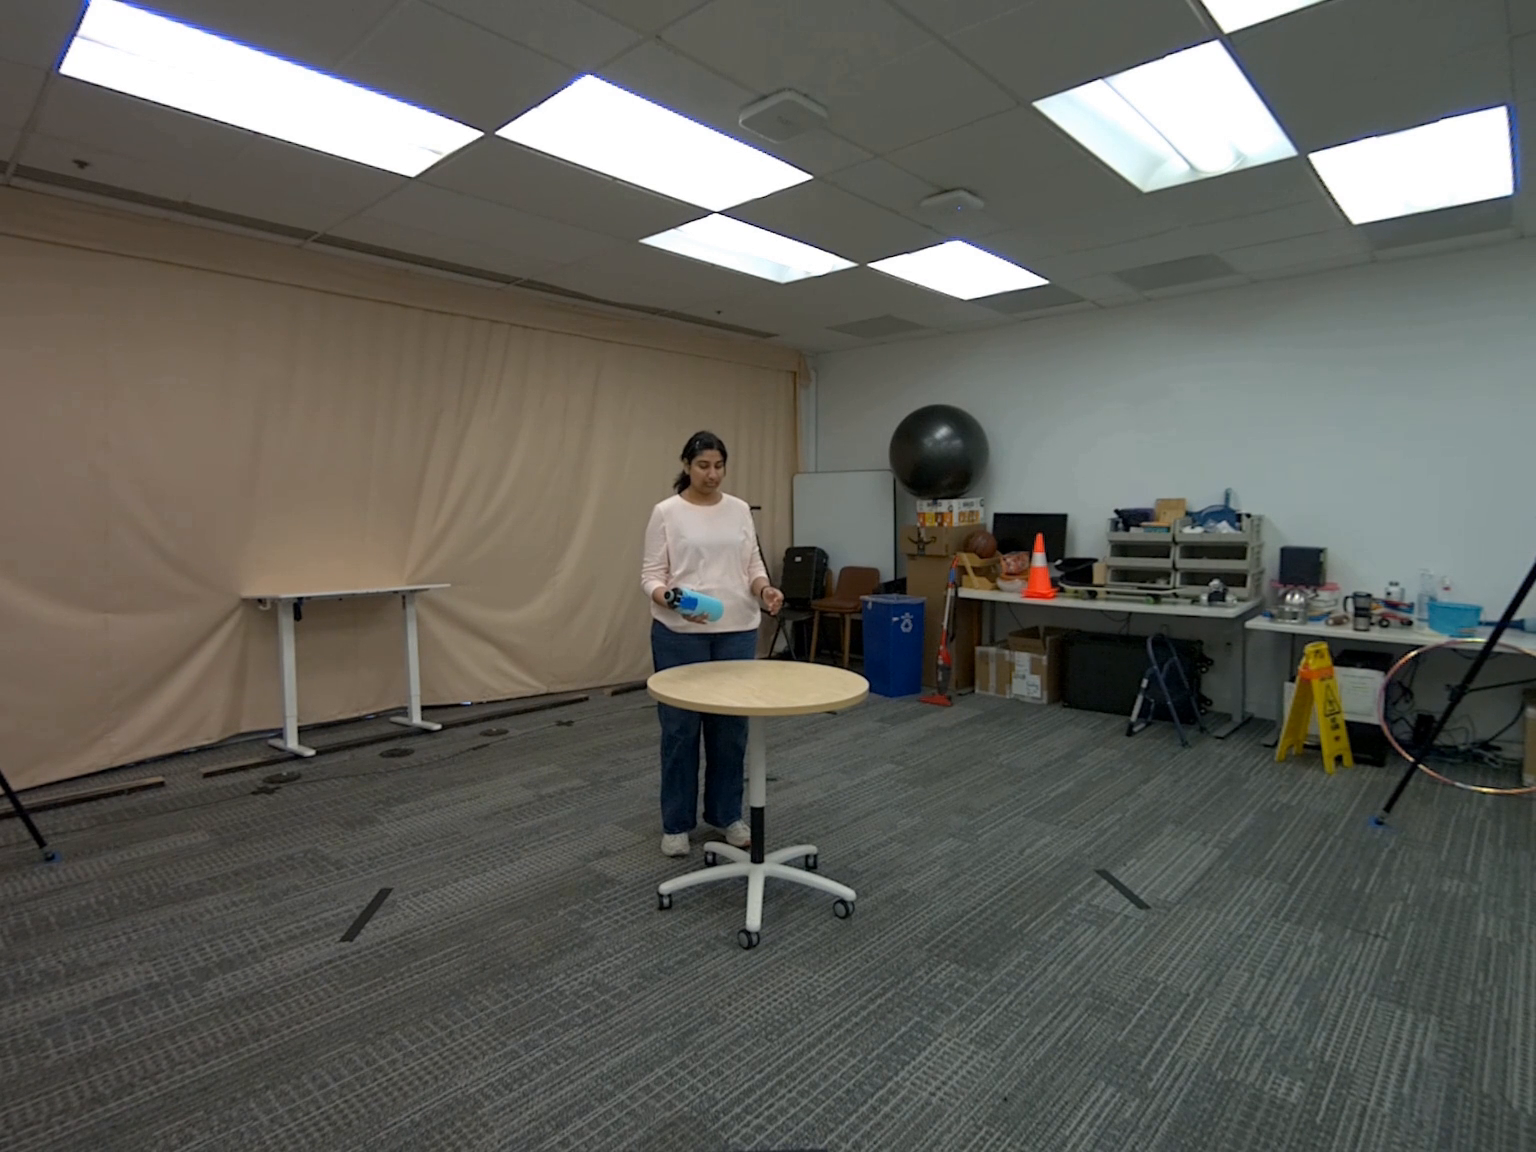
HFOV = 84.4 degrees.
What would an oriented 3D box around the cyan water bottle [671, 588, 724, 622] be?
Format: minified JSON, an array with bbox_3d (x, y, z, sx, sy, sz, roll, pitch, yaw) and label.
[{"bbox_3d":[-0.262,0.100,3.080,0.095,0.093,0.274,2,-11,32],"label":"cyan water bottle"}]
